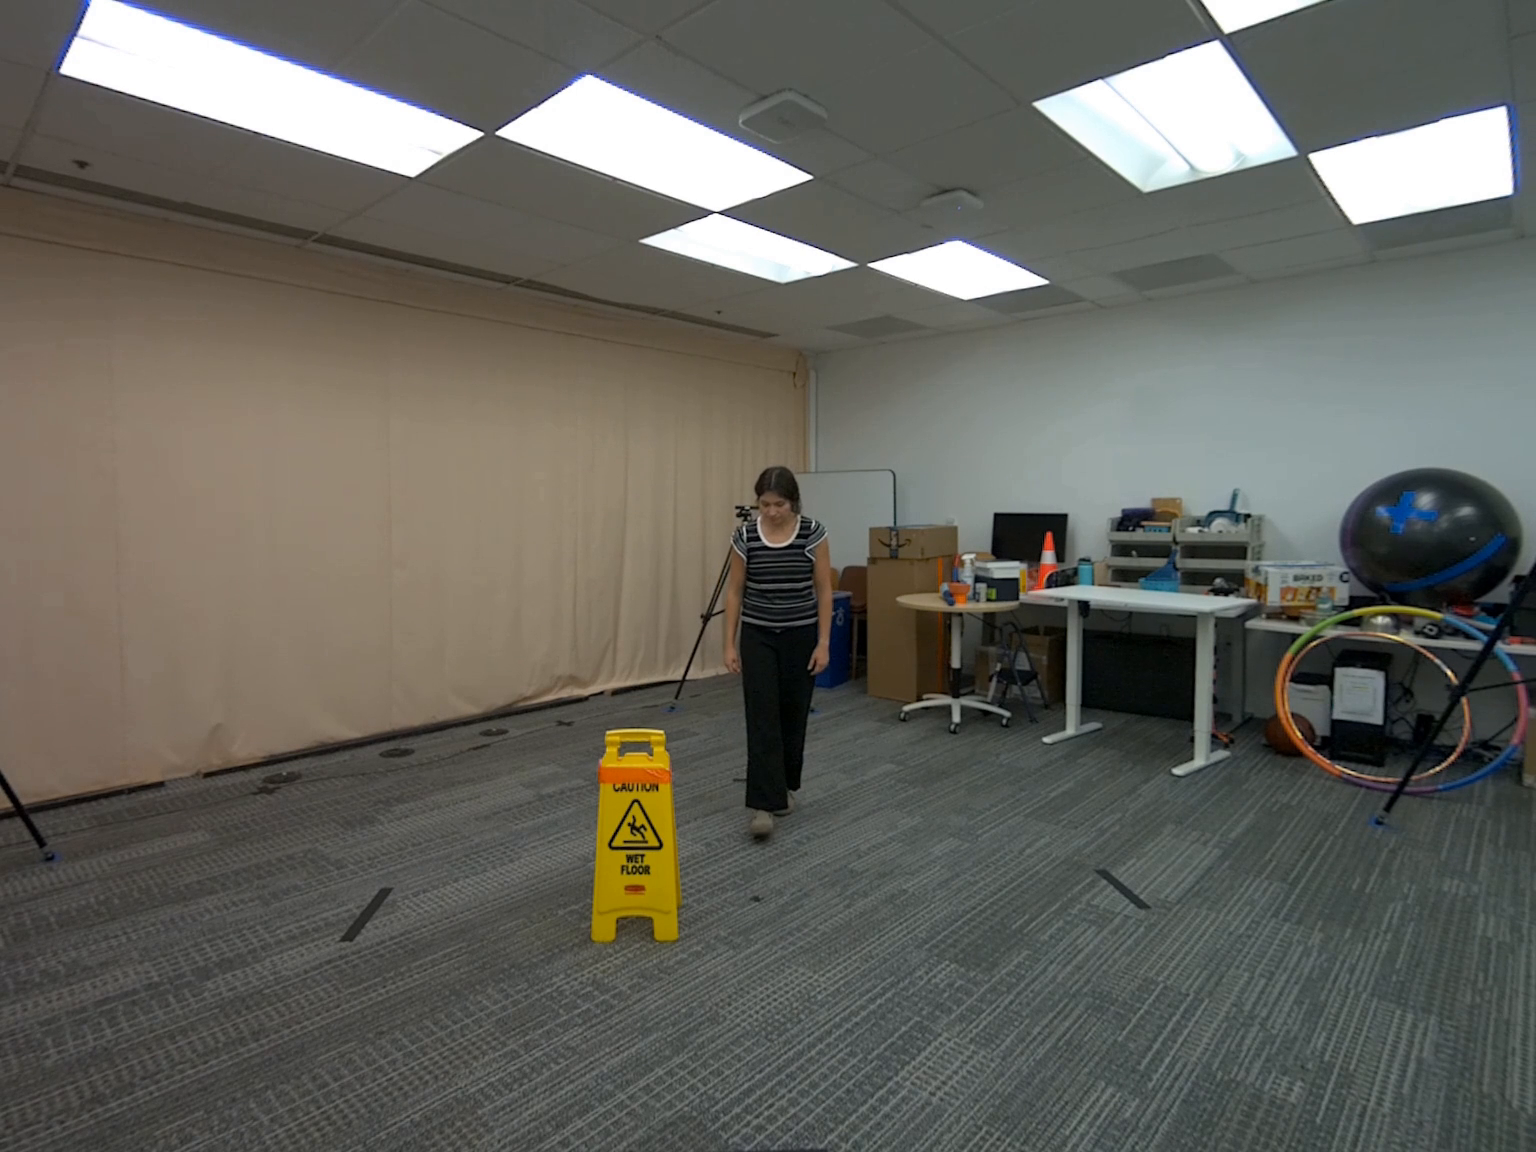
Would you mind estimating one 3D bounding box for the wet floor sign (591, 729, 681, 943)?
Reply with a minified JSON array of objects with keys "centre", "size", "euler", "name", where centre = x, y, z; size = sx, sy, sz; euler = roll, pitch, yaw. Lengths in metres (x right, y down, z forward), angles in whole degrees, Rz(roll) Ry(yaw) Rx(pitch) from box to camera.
[{"centre":[-0.435,0.839,2.806],"size":[0.282,0.645,0.290],"euler":[1,2,-1],"name":"wet floor sign"}]
